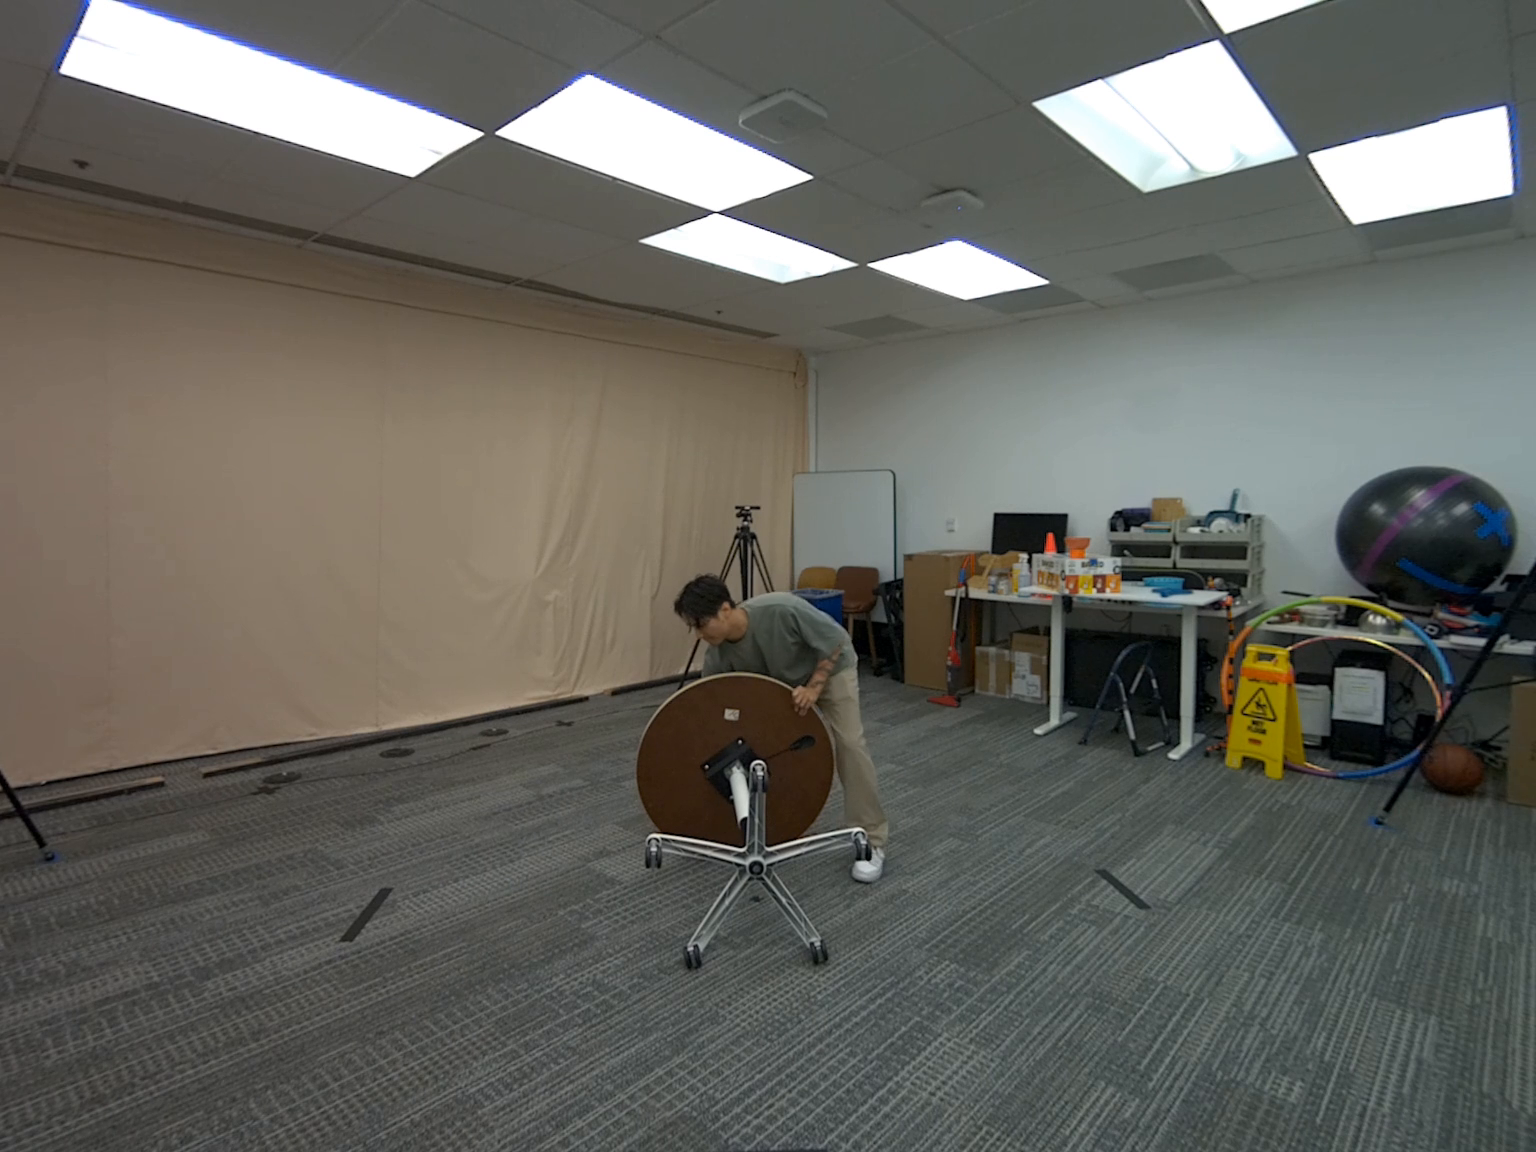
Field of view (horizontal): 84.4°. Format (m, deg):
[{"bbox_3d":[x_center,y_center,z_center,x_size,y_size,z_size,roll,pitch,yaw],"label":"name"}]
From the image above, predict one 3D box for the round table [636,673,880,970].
[{"bbox_3d":[-0.079,0.817,2.869,0.781,0.780,0.796,0,10,-6],"label":"round table"}]
